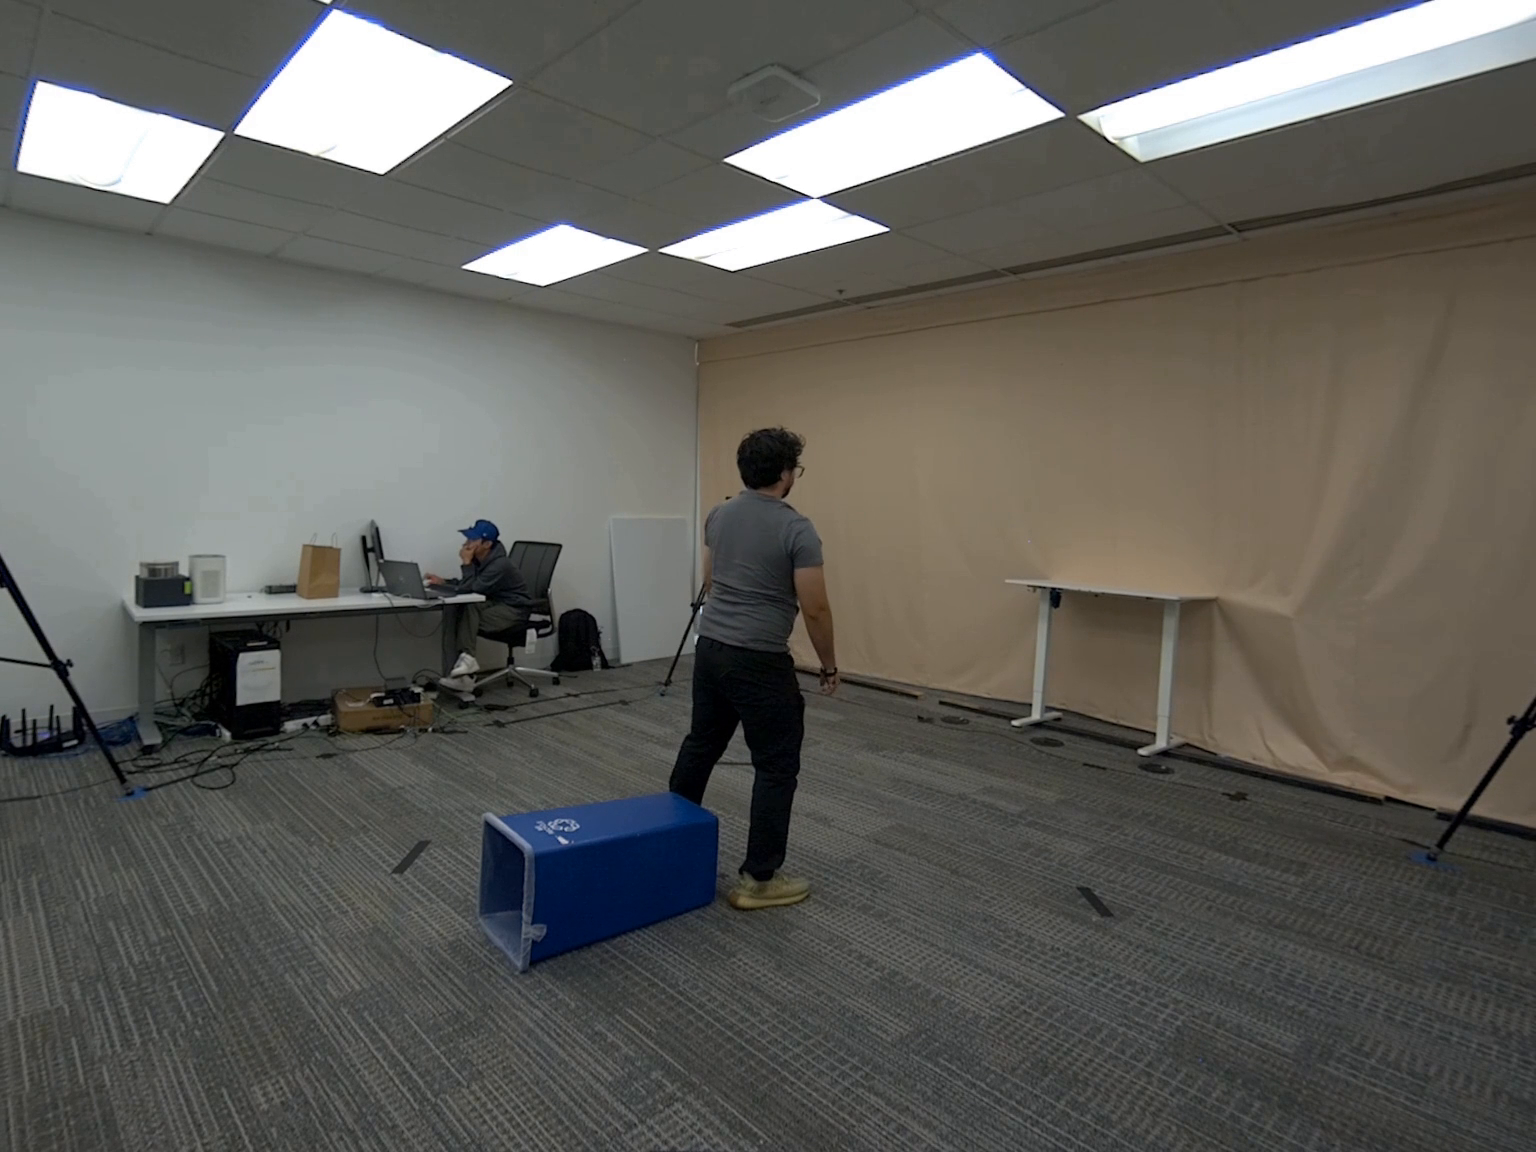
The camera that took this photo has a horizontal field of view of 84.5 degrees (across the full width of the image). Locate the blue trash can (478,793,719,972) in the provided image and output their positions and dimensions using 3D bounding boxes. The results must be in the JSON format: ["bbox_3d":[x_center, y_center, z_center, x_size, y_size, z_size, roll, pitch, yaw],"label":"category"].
[{"bbox_3d":[-0.553,0.954,2.779,0.697,0.373,0.387,0,4,-39],"label":"blue trash can"}]
